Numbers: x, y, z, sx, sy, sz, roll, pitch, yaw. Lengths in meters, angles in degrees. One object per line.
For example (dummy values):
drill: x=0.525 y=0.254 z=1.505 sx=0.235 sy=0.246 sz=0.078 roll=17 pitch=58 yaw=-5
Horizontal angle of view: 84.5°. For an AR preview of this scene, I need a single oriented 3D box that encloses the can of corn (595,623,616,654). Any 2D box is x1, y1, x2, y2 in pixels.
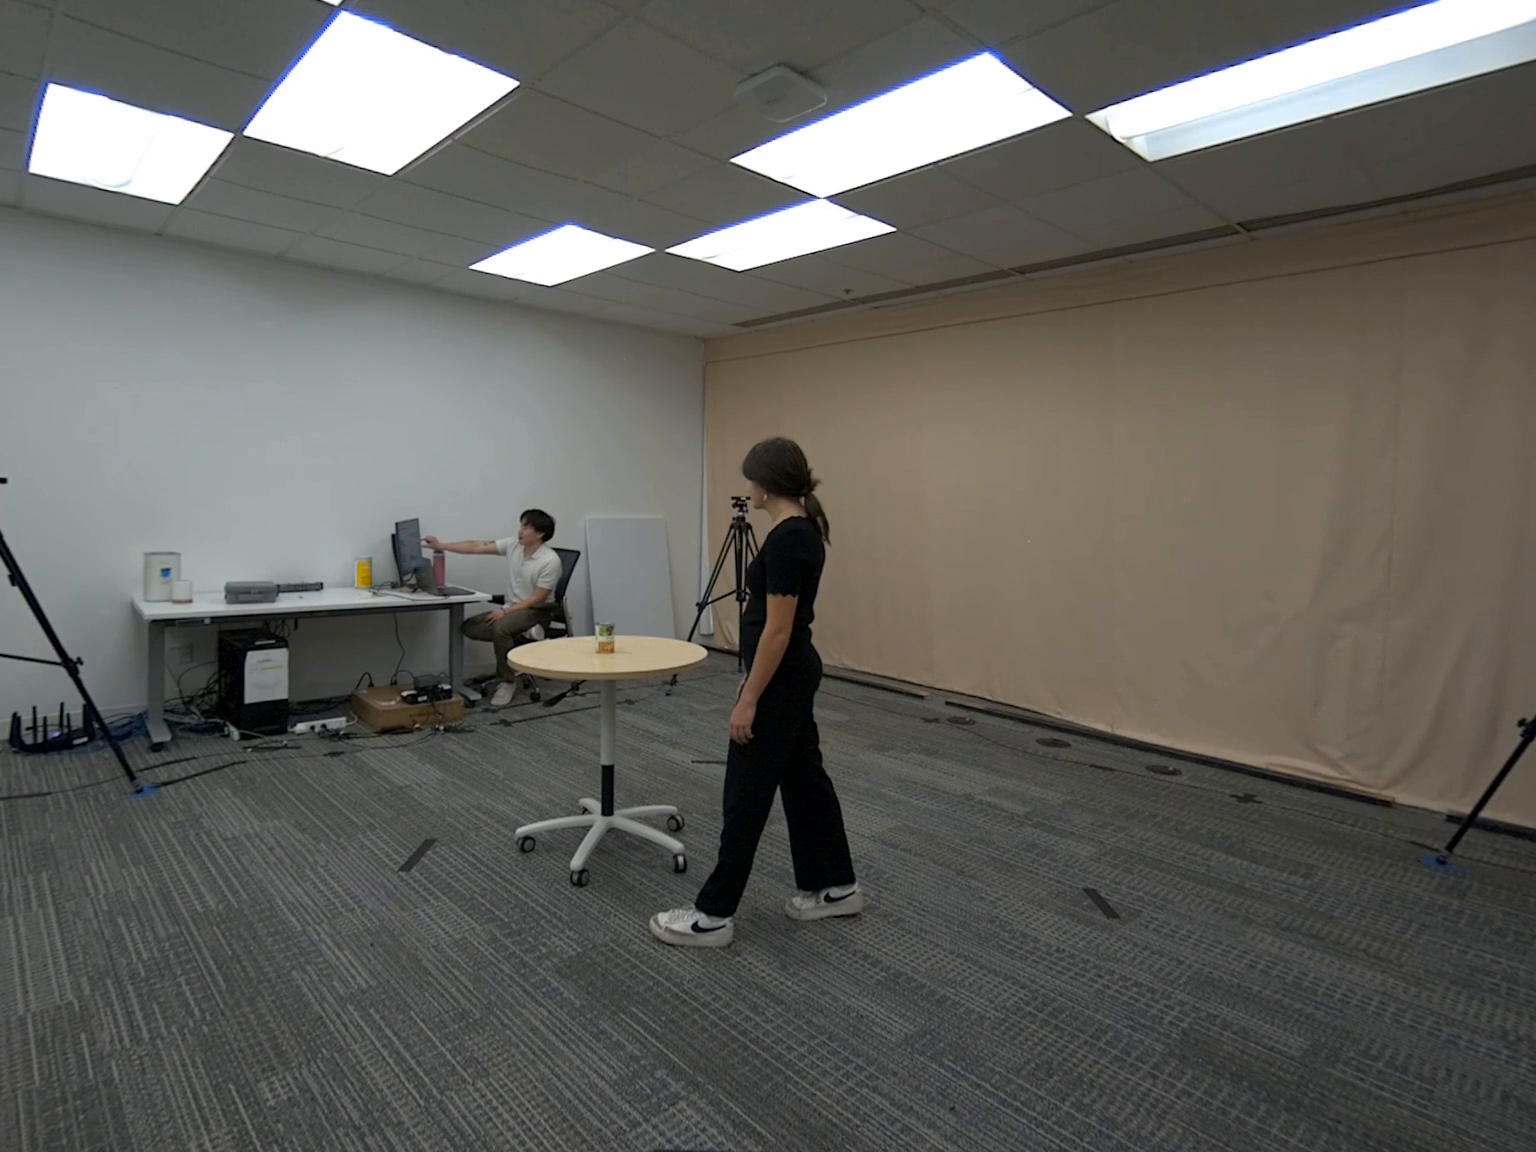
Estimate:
can of corn: x=-0.640 y=0.241 z=3.262 sx=0.074 sy=0.111 sz=0.074 roll=1 pitch=2 yaw=-1
